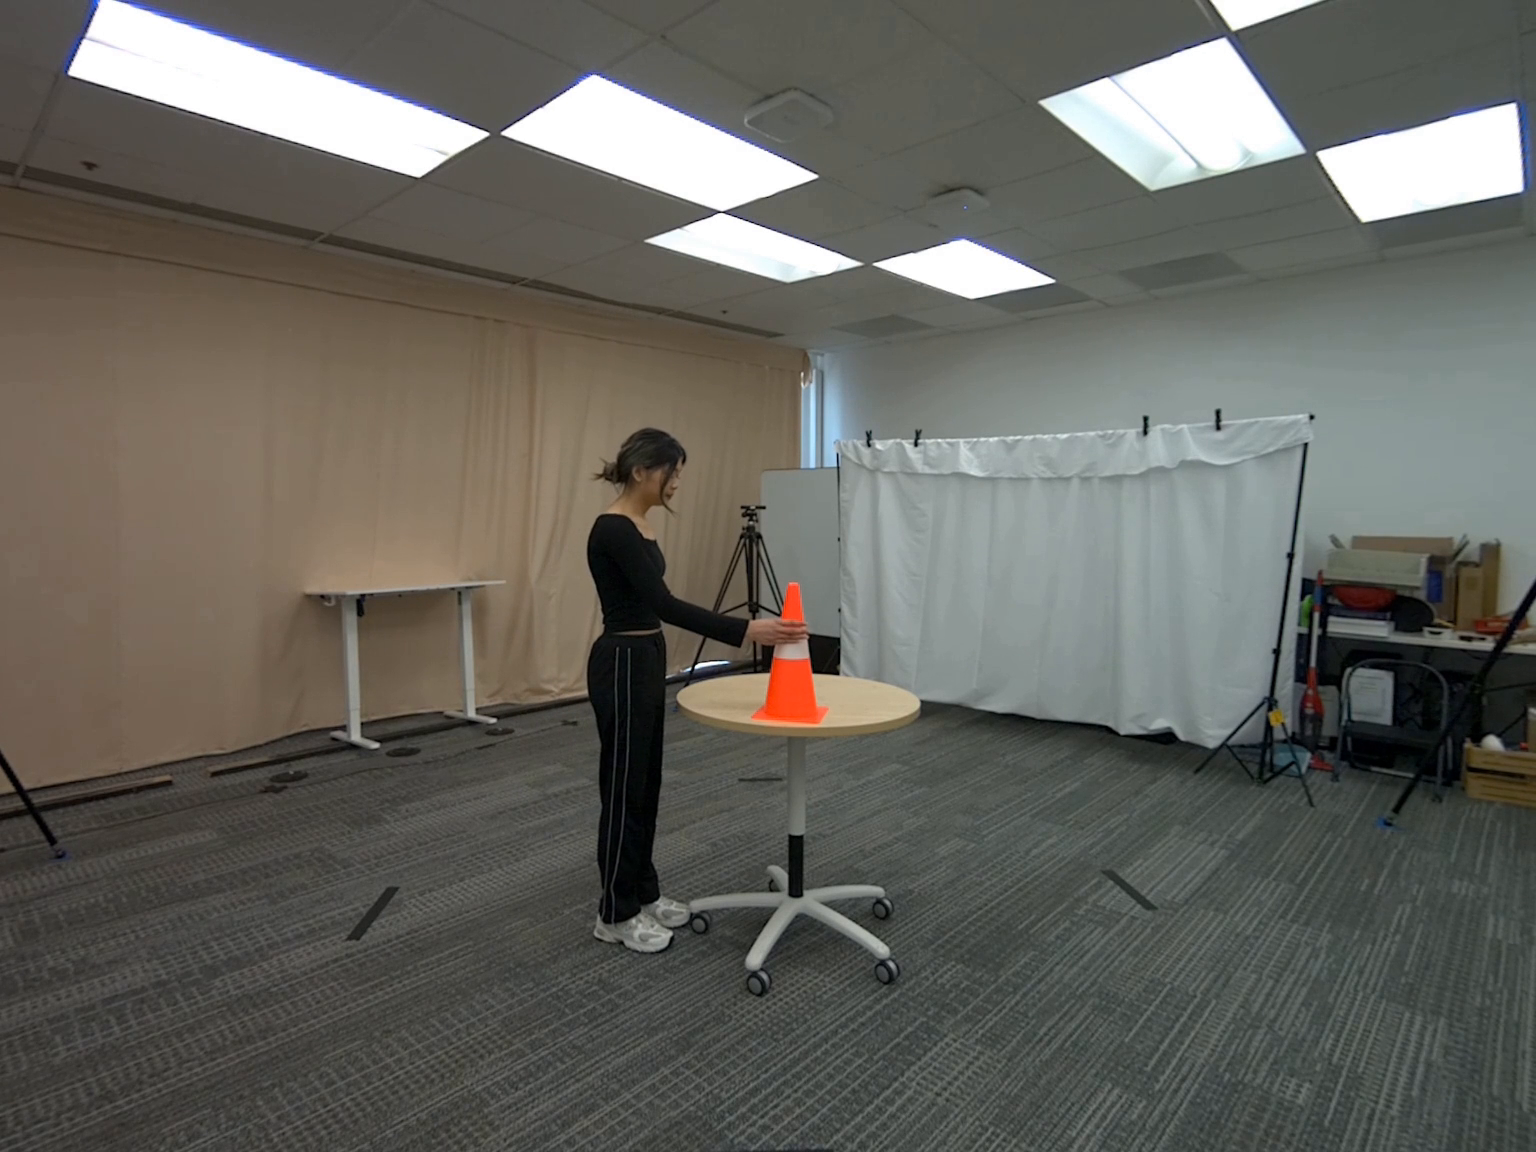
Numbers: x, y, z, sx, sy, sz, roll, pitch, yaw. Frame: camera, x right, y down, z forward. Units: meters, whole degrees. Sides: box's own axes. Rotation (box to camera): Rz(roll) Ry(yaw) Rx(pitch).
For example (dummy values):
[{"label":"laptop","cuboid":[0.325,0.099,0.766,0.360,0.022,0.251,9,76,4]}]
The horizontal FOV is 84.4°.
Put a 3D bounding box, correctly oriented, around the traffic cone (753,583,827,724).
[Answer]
[{"label":"traffic cone","cuboid":[0.071,0.216,2.443,0.204,0.383,0.204,-2,3,4]}]
